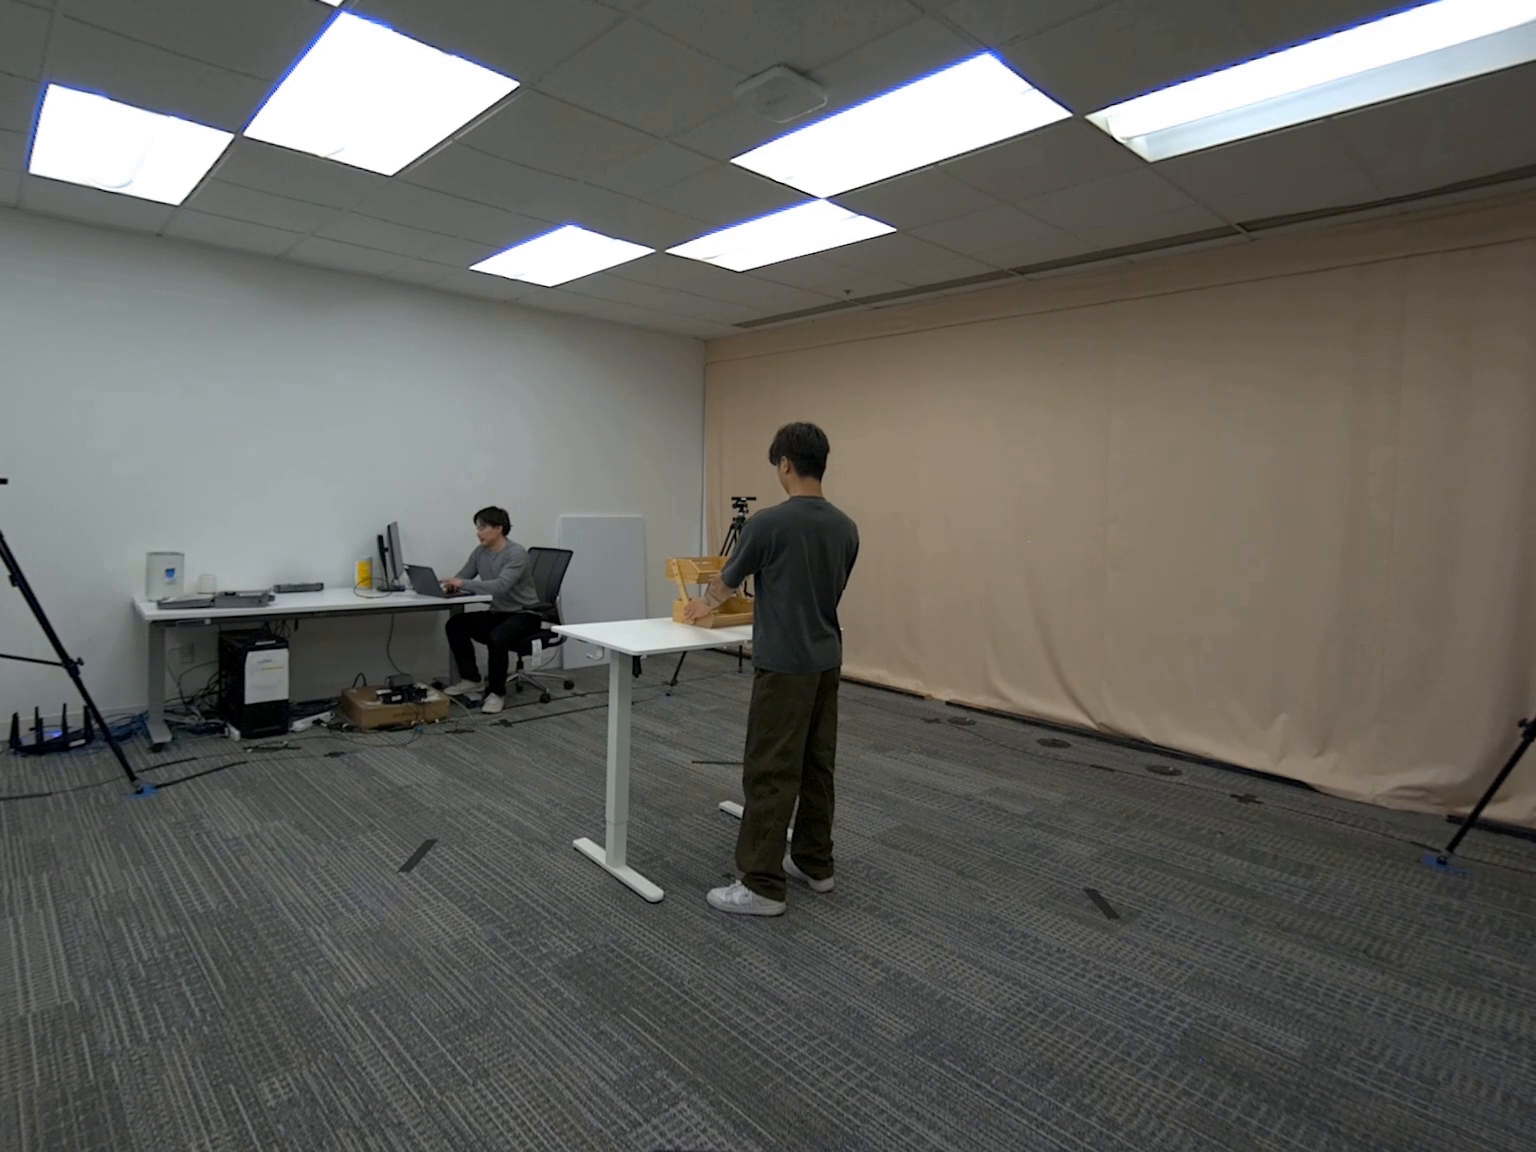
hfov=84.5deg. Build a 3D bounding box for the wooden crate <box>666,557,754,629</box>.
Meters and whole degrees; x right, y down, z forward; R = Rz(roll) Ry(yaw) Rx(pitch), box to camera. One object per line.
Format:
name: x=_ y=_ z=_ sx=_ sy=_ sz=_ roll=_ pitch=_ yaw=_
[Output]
wooden crate: x=-0.221 y=0.056 z=3.482 sx=0.310 sy=0.273 sz=0.317 roll=5 pitch=5 yaw=44
